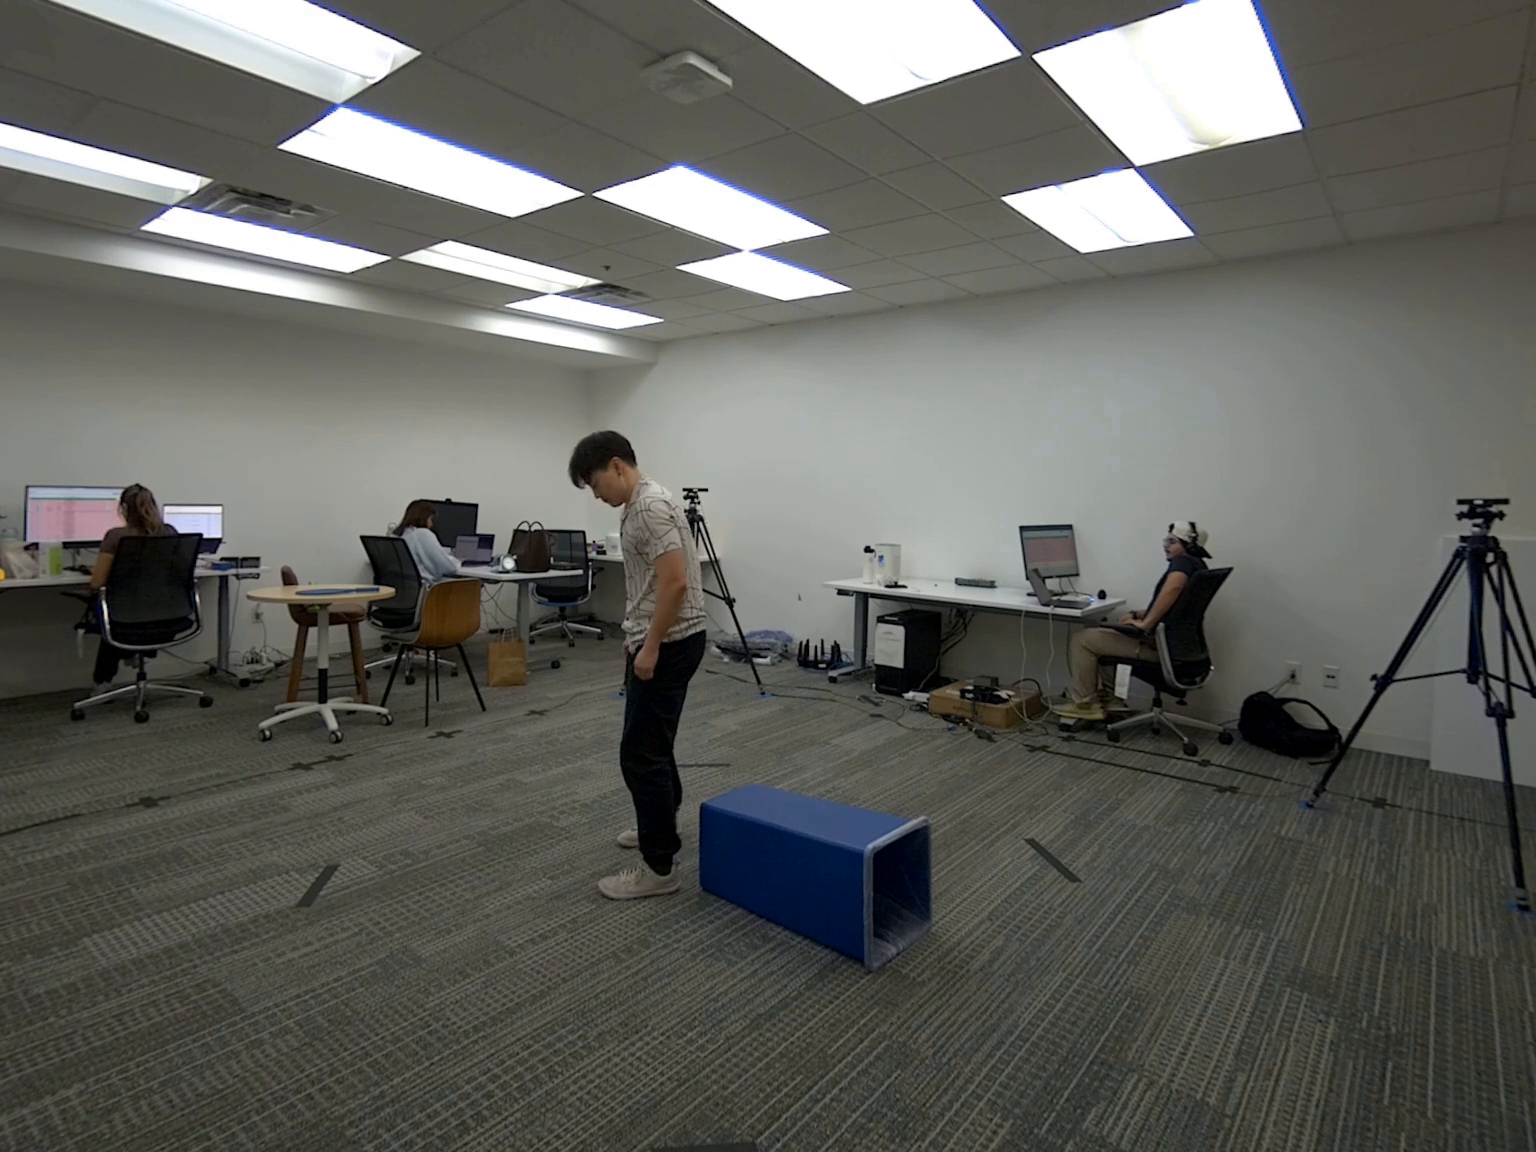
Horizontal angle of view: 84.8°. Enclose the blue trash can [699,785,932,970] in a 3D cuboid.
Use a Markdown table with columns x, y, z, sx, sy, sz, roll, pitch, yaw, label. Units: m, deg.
| x | y | z | sx | sy | sz | roll | pitch | yaw | label |
| --- | --- | --- | --- | --- | --- | --- | --- | --- | --- |
| 0.124 | 0.932 | 2.818 | 0.737 | 0.377 | 0.363 | 3 | 5 | 41 | blue trash can |
